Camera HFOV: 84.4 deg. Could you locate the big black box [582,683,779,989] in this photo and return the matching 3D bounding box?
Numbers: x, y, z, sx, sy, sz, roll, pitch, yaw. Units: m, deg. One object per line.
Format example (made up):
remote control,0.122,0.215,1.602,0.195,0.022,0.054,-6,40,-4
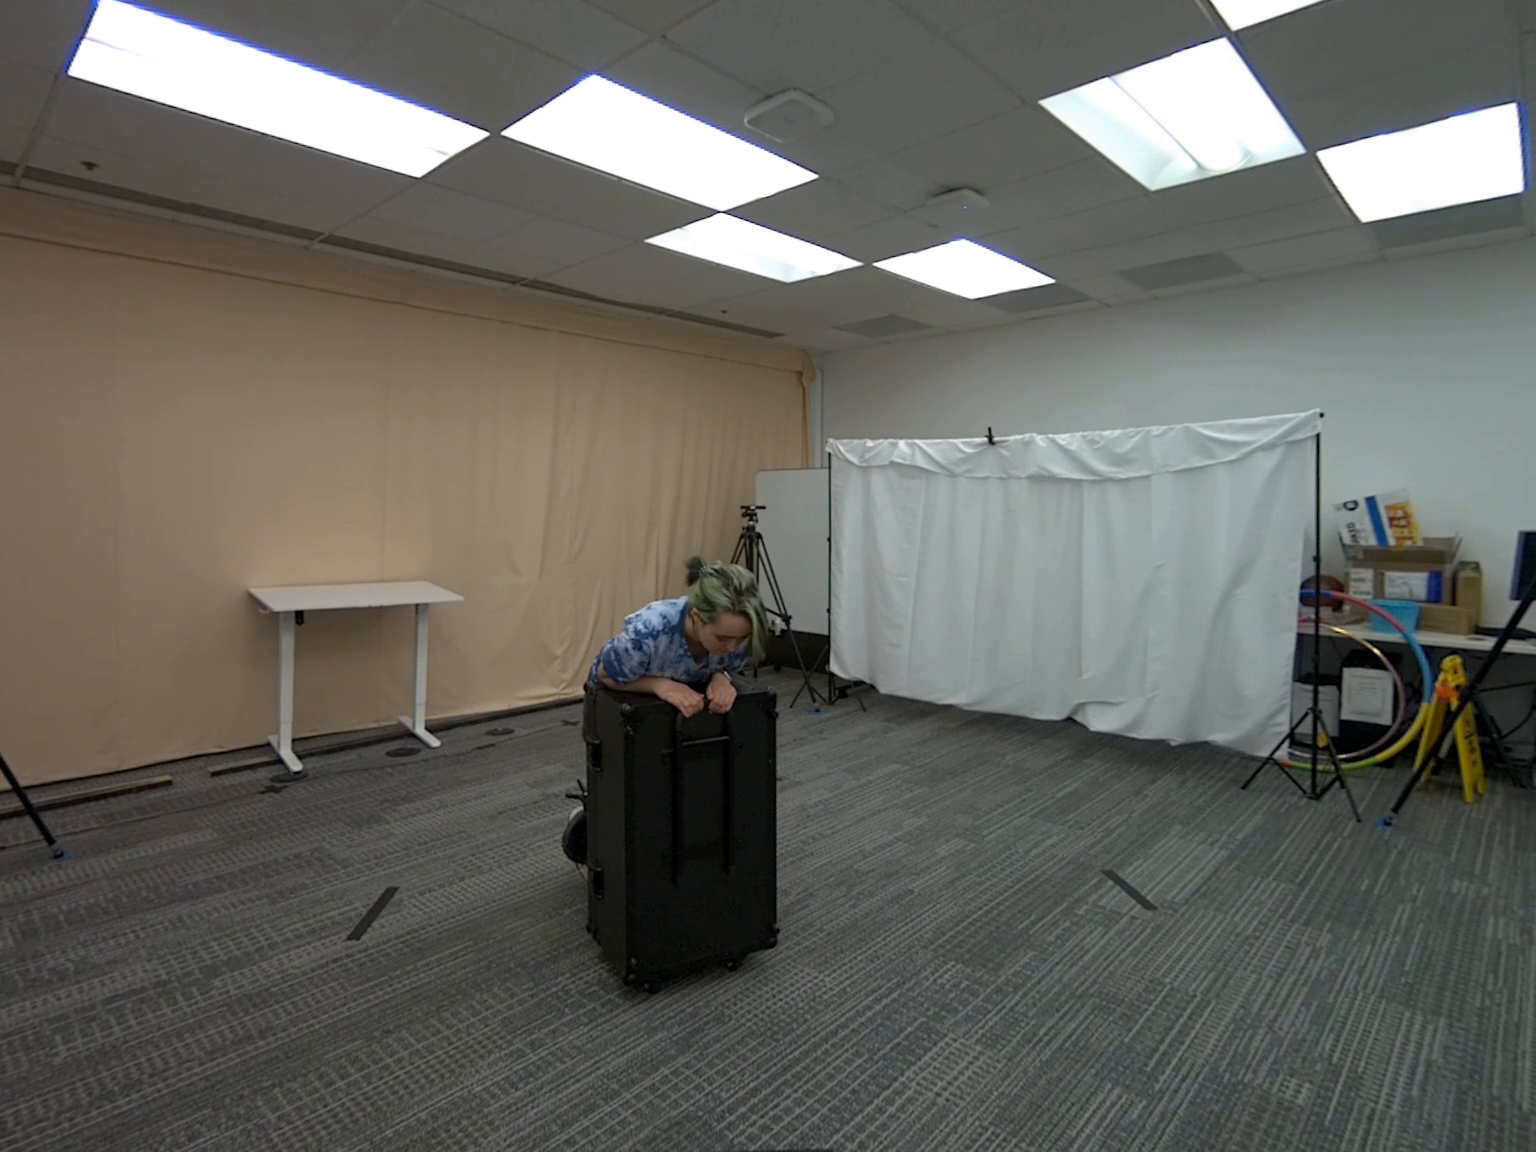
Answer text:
big black box,-0.258,0.707,2.541,0.508,0.859,0.407,-2,4,-28
